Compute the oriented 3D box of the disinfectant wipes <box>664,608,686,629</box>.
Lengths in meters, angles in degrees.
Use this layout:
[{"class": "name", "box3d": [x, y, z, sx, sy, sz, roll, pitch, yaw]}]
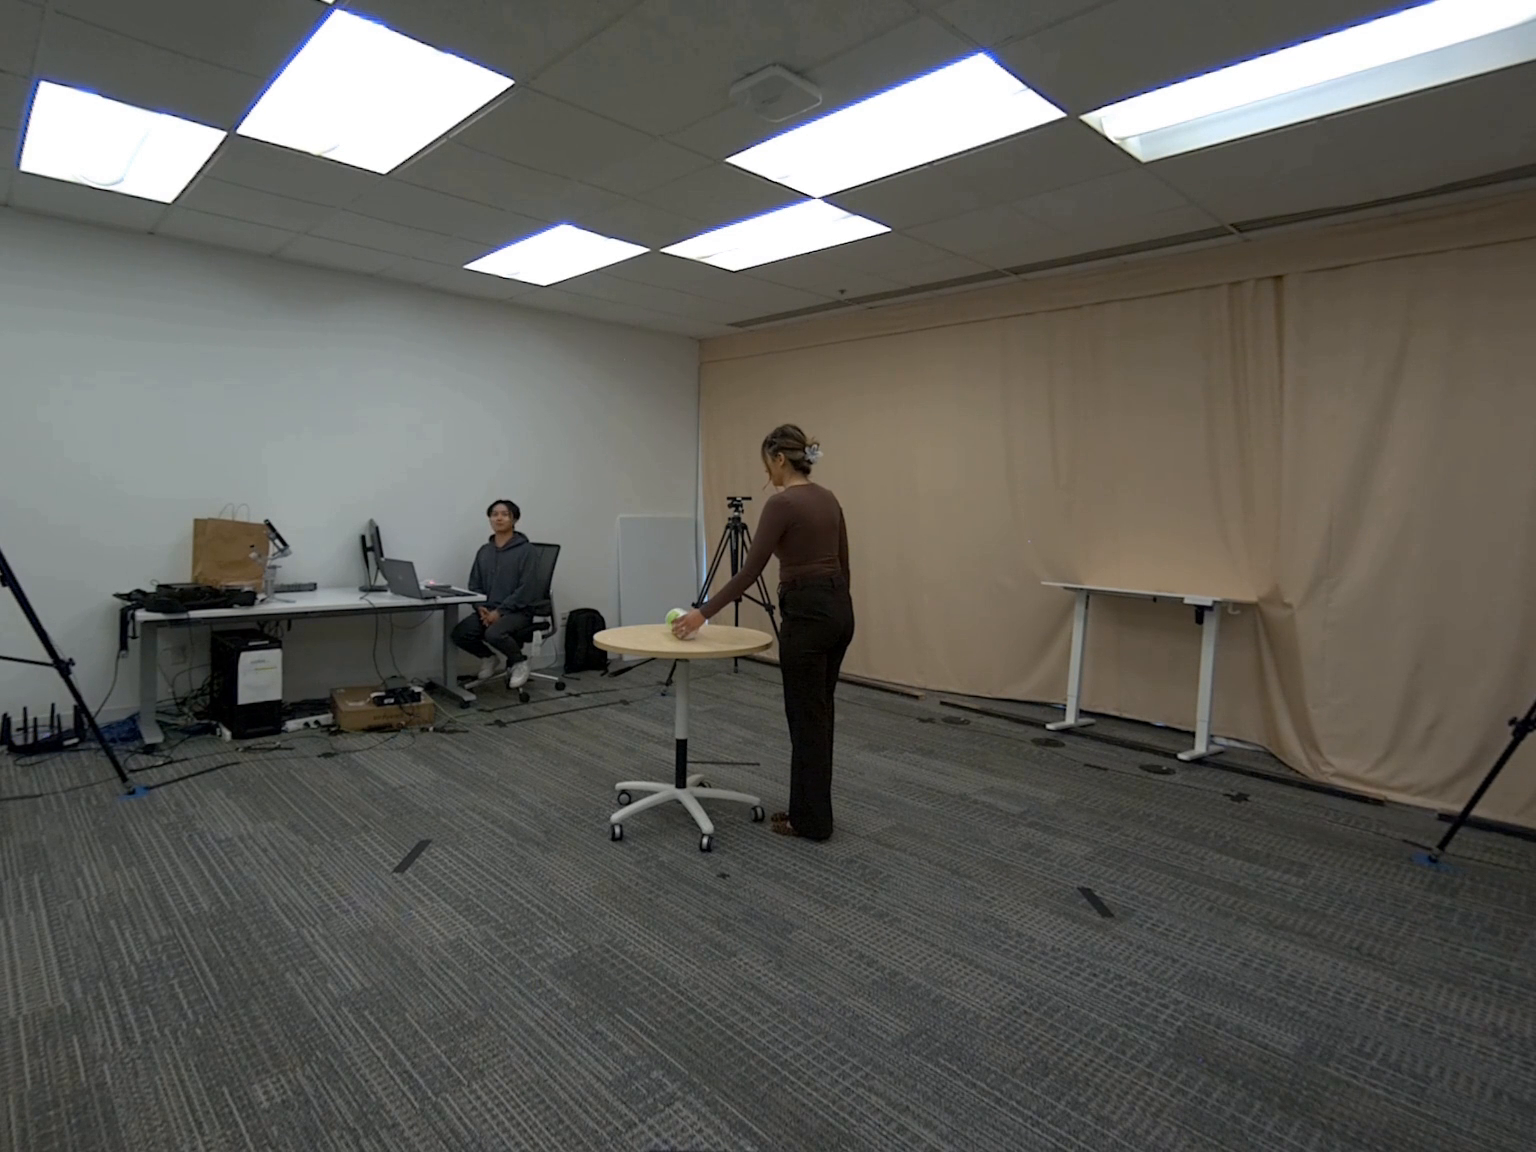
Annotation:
[{"class": "disinfectant wipes", "box3d": [-0.370, 0.203, 3.611, 0.116, 0.117, 0.221, 0, 5, -16]}]
